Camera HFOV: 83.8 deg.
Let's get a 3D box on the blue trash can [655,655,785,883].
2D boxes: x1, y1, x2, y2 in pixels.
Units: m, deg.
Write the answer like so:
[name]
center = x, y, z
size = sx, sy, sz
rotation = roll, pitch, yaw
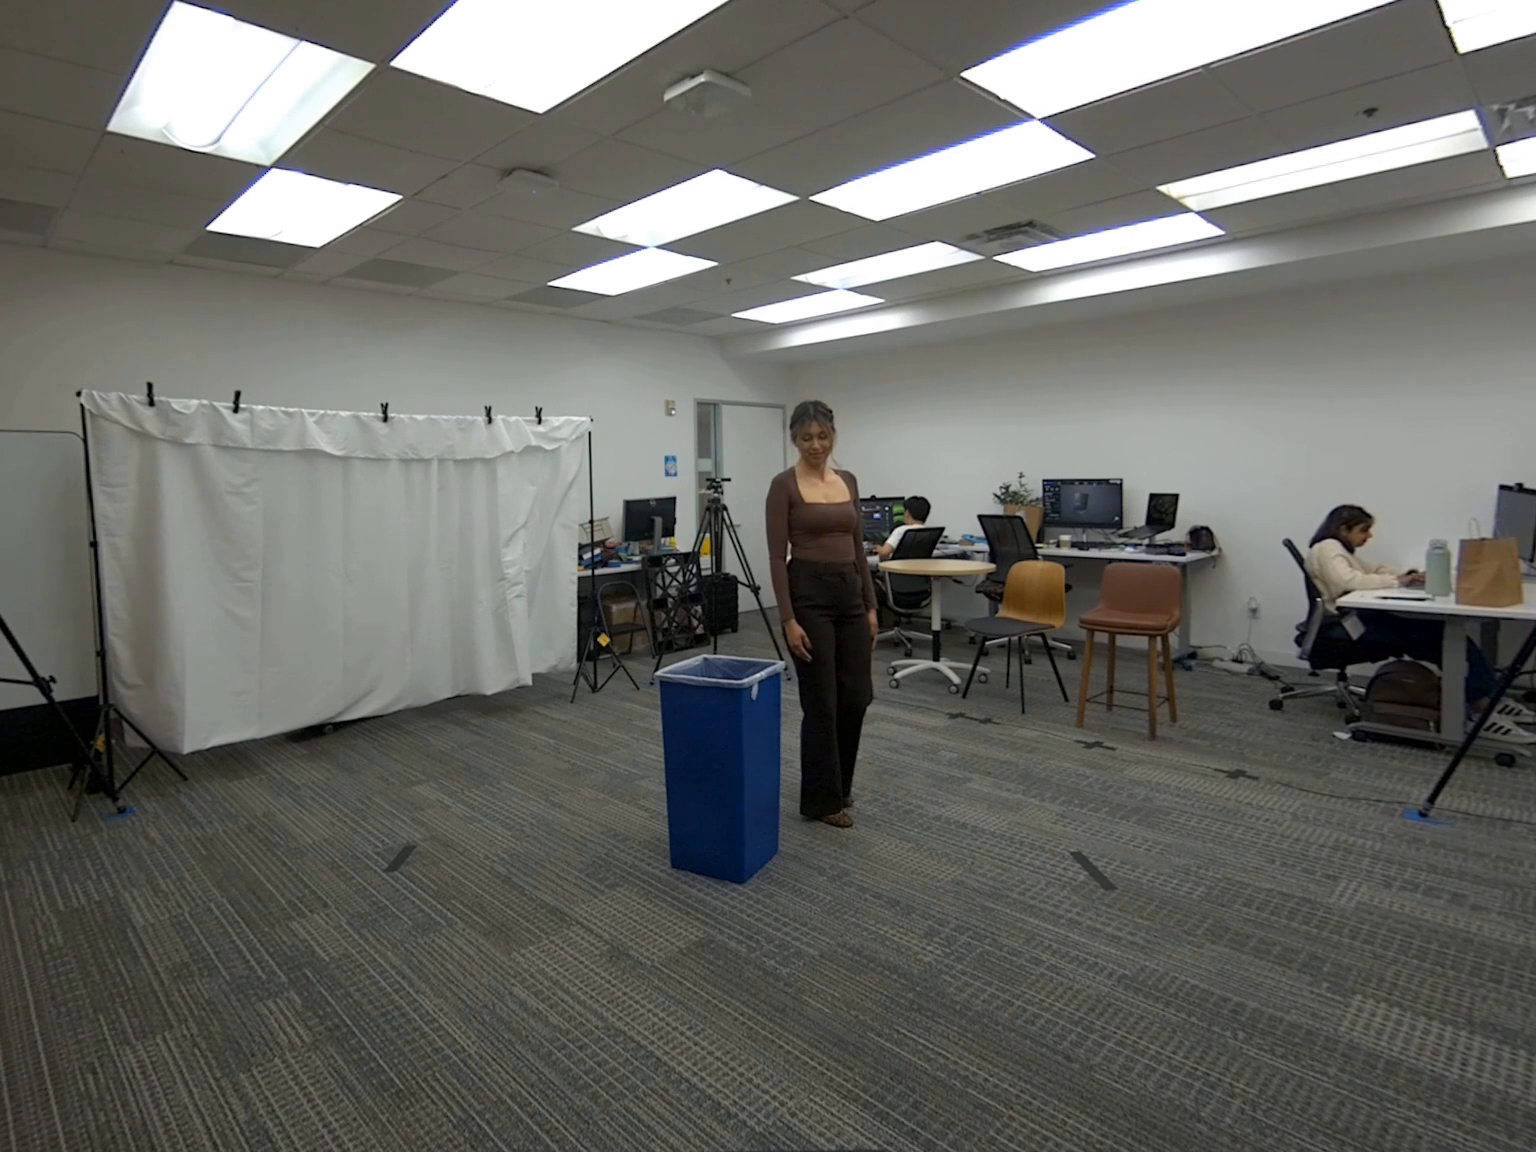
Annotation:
[blue trash can]
center = -0.159, 0.684, 3.113
size = 0.387, 0.712, 0.366
rotation = 1, 3, 26
